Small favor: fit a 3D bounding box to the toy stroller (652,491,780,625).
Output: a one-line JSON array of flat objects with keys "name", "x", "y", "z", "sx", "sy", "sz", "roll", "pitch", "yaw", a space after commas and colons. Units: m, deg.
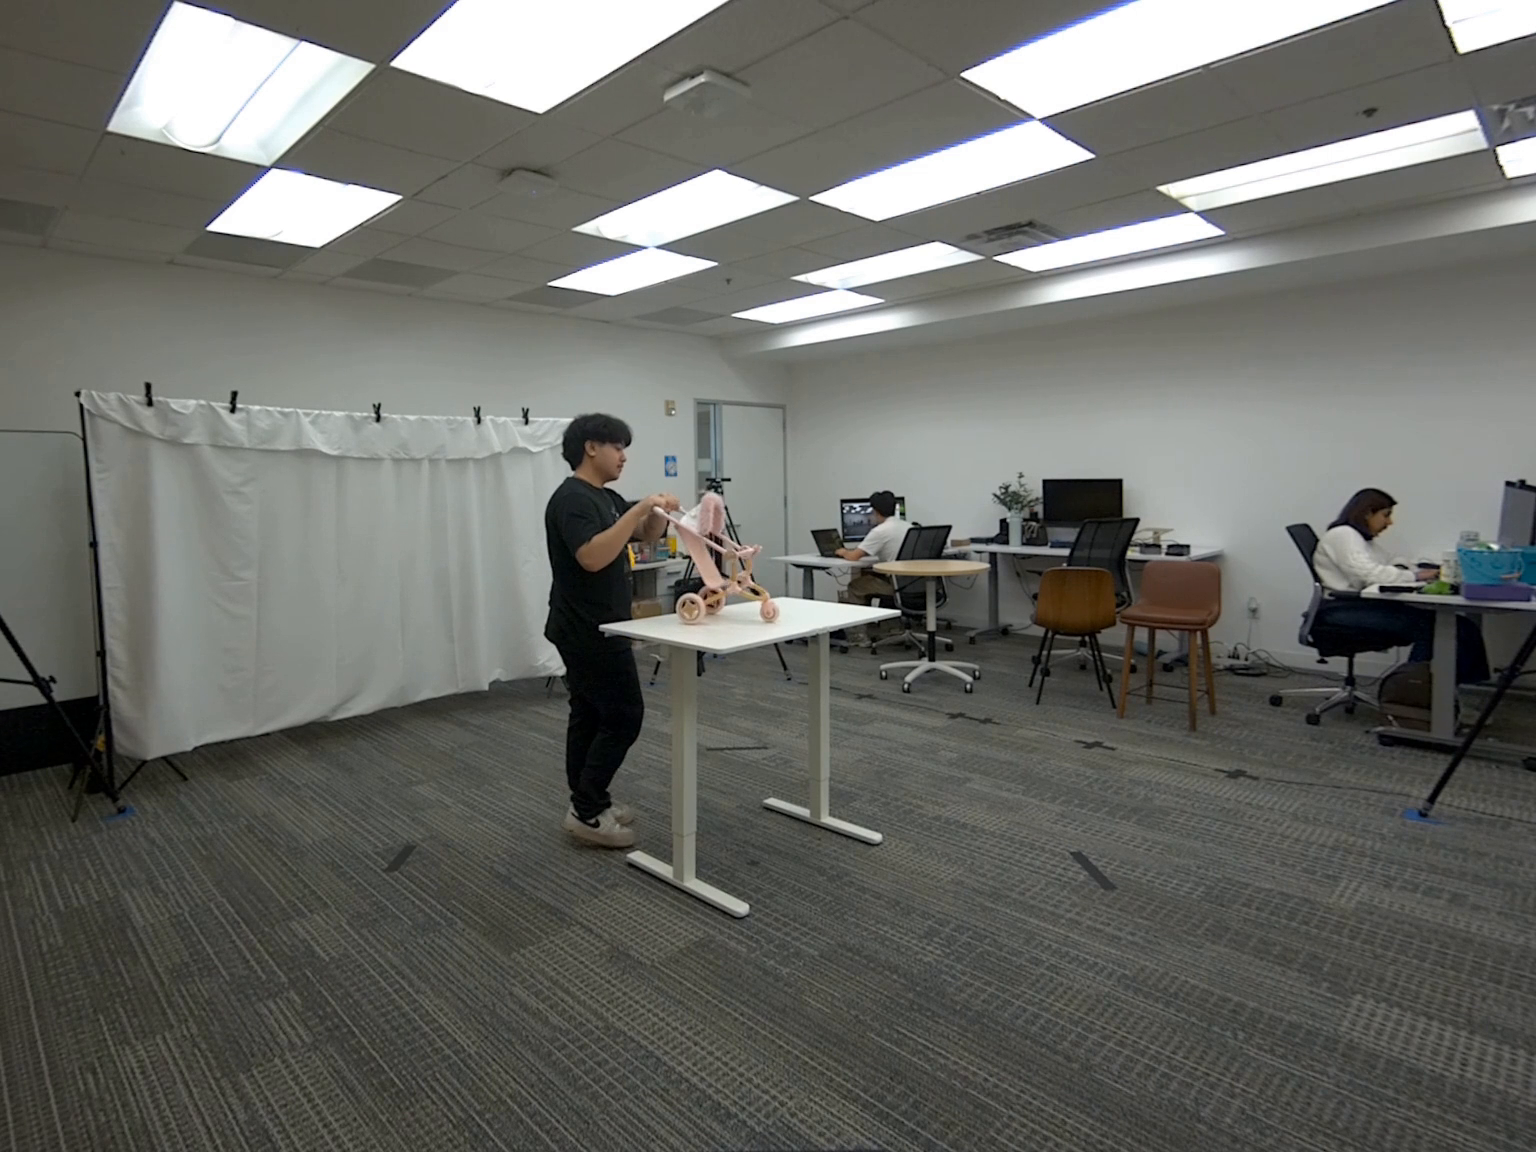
[{"name": "toy stroller", "x": -0.176, "y": -0.060, "z": 3.086, "sx": 0.346, "sy": 0.536, "sz": 0.277, "roll": -15, "pitch": -2, "yaw": 21}]
